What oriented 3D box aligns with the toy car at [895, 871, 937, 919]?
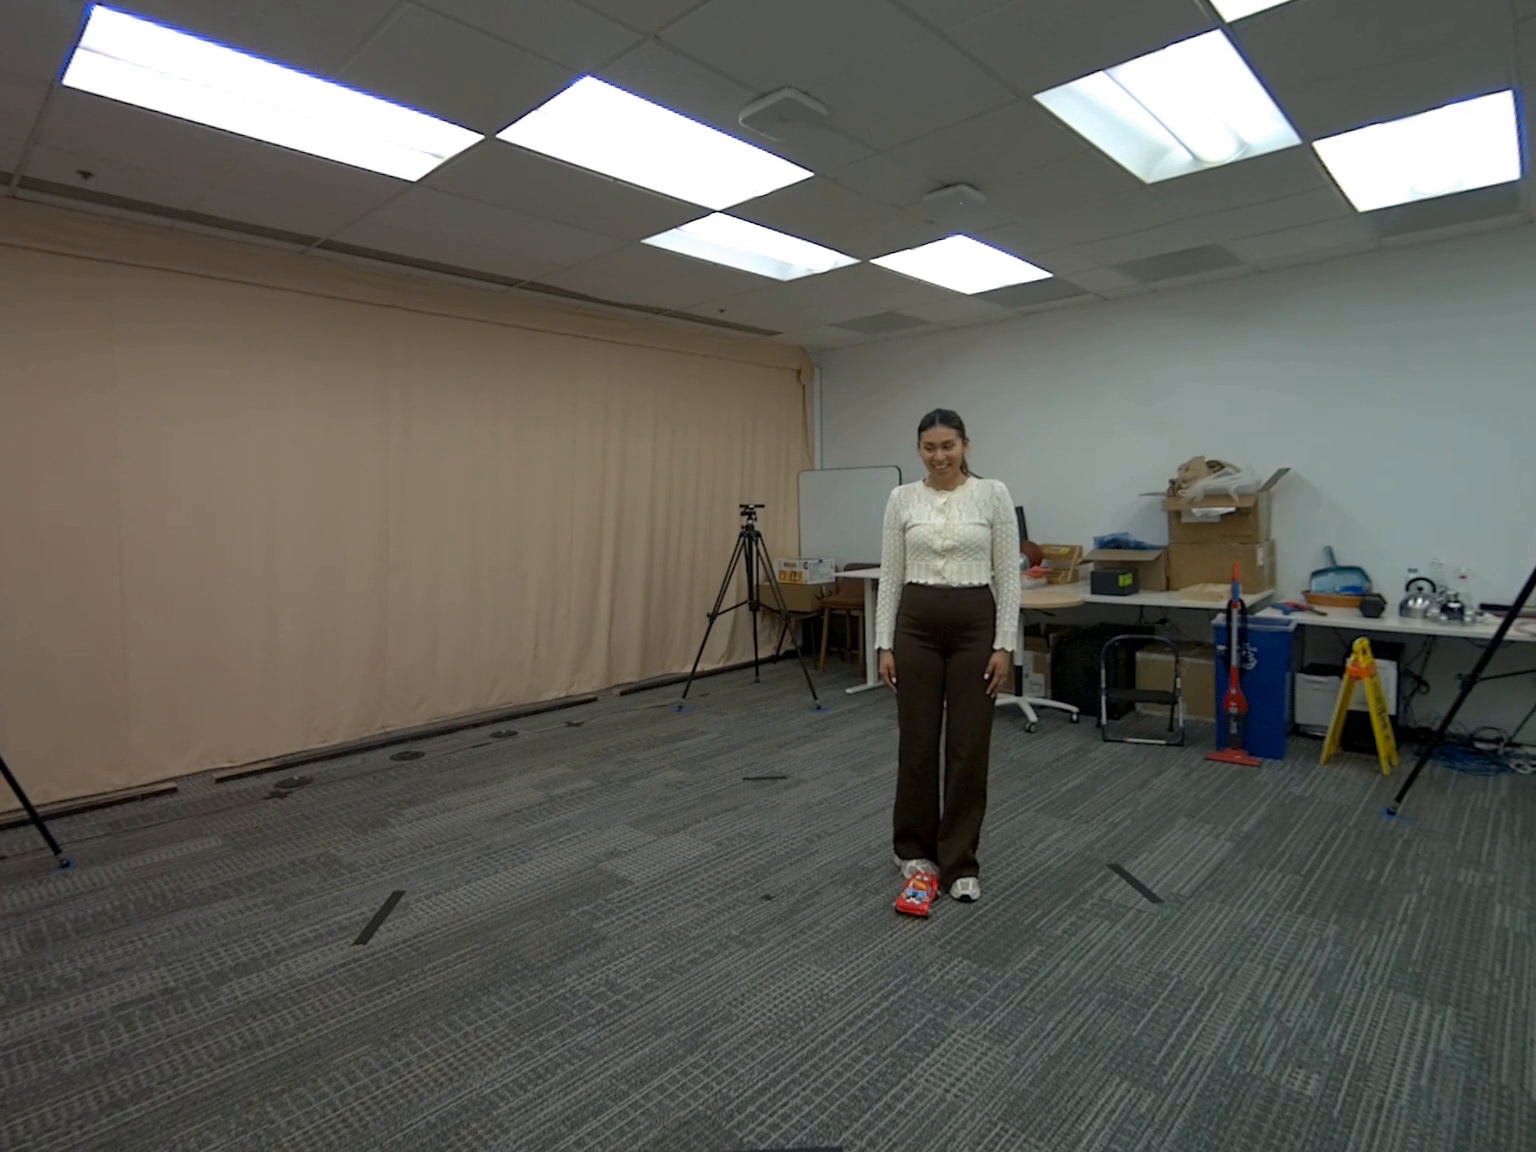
[{"bbox_3d":[0.526,1.106,2.918,0.133,0.082,0.251,1,15,24],"label":"toy car"}]
